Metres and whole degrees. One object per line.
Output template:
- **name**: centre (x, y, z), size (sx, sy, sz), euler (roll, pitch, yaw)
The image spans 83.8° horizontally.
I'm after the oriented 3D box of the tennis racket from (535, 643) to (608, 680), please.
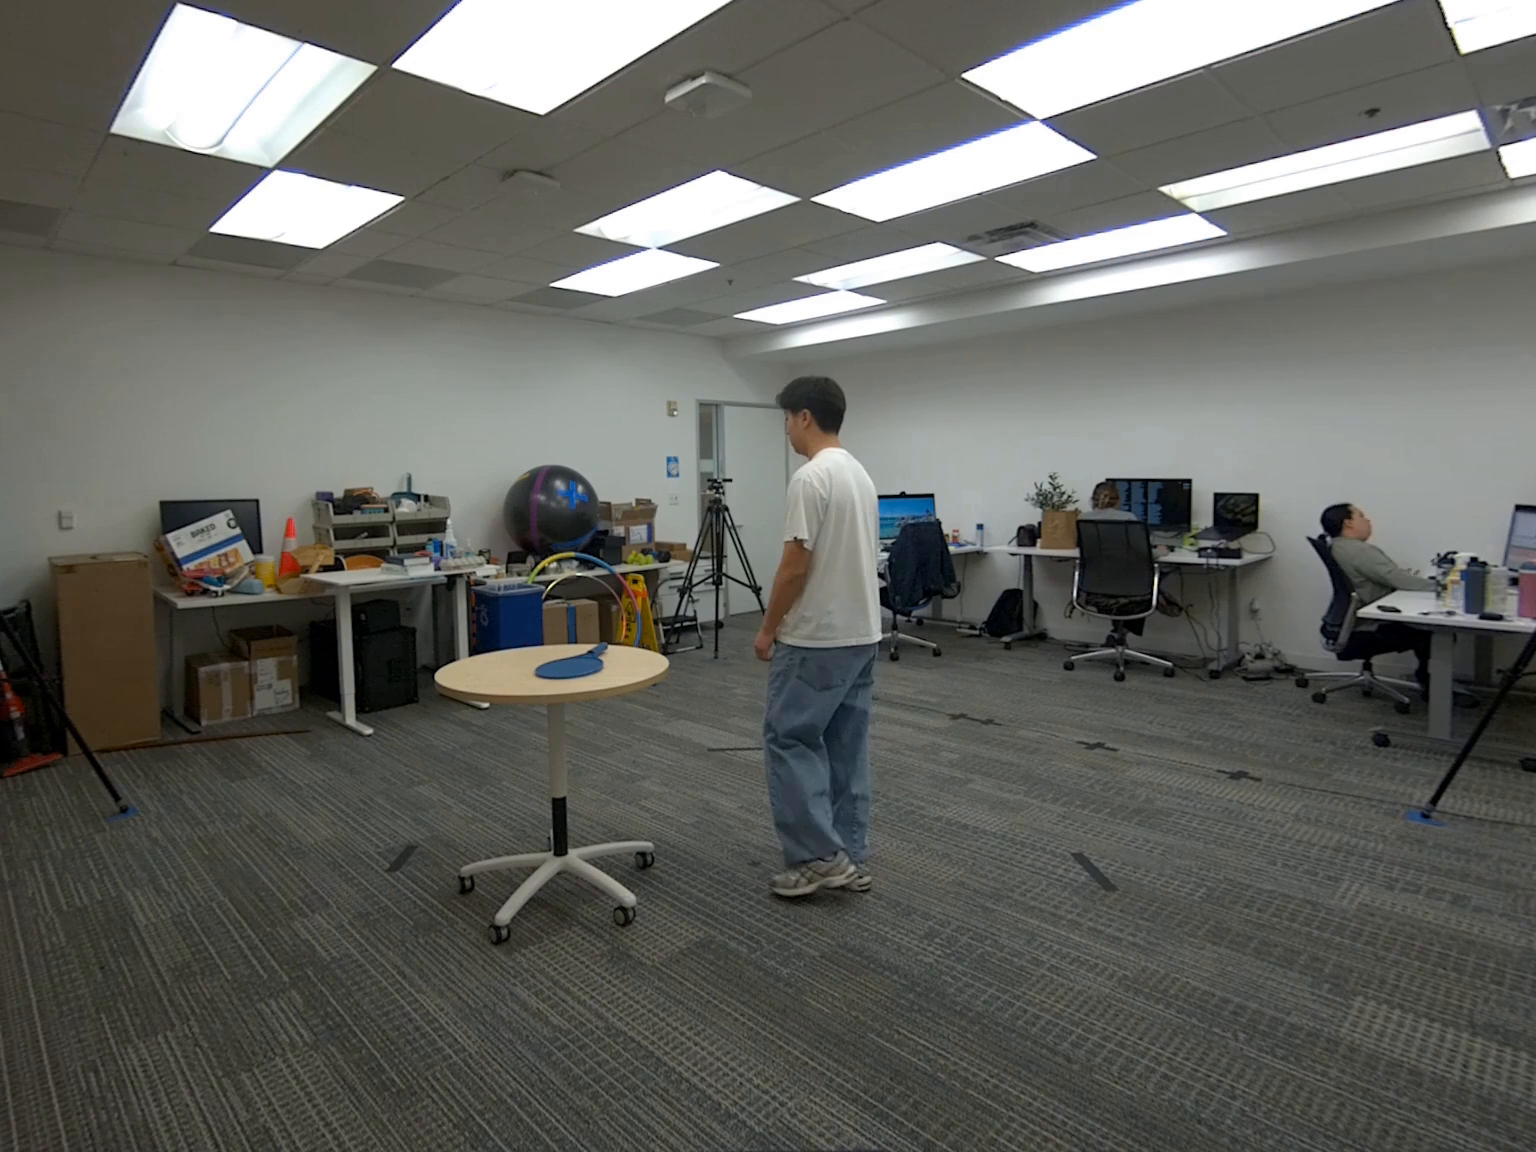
- **tennis racket**: centre (-0.630, 0.287, 2.872), size (0.217, 0.031, 0.429), euler (1, 8, 14)
